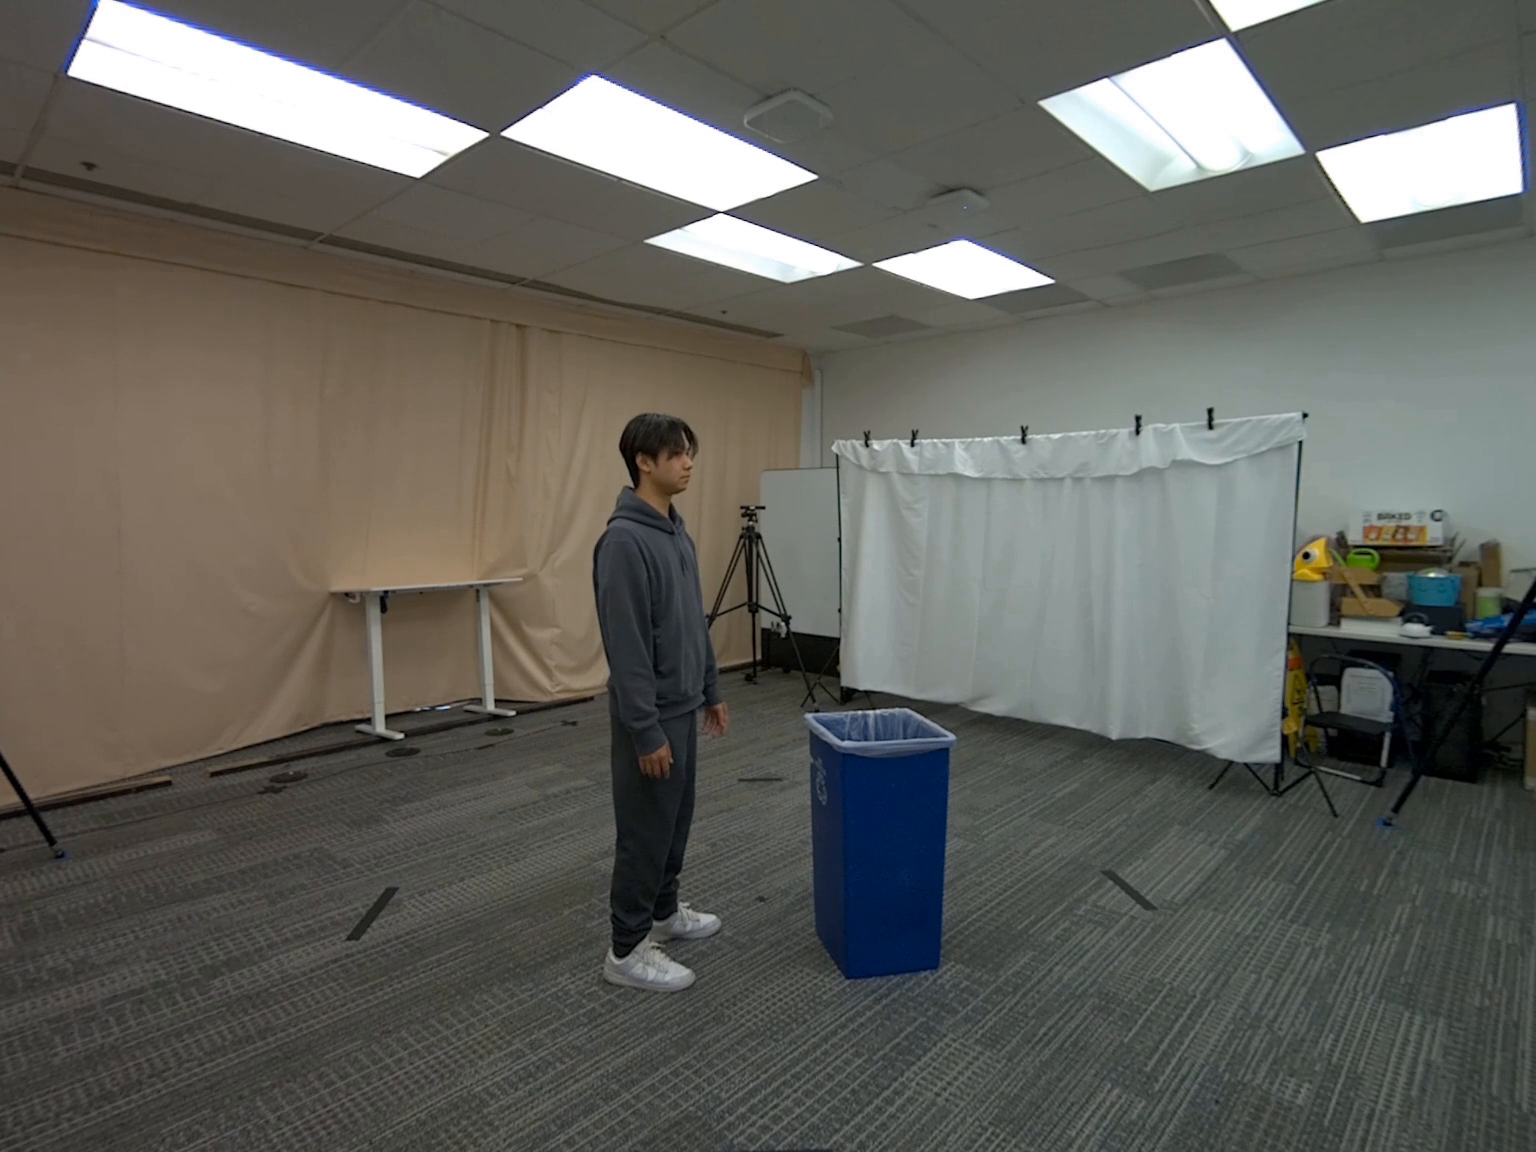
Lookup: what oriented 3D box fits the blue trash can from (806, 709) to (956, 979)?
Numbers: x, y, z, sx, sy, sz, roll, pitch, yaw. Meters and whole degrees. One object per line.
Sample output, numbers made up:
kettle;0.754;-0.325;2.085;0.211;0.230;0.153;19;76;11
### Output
blue trash can;0.344;0.816;2.618;0.373;0.712;0.380;-1;3;-13
